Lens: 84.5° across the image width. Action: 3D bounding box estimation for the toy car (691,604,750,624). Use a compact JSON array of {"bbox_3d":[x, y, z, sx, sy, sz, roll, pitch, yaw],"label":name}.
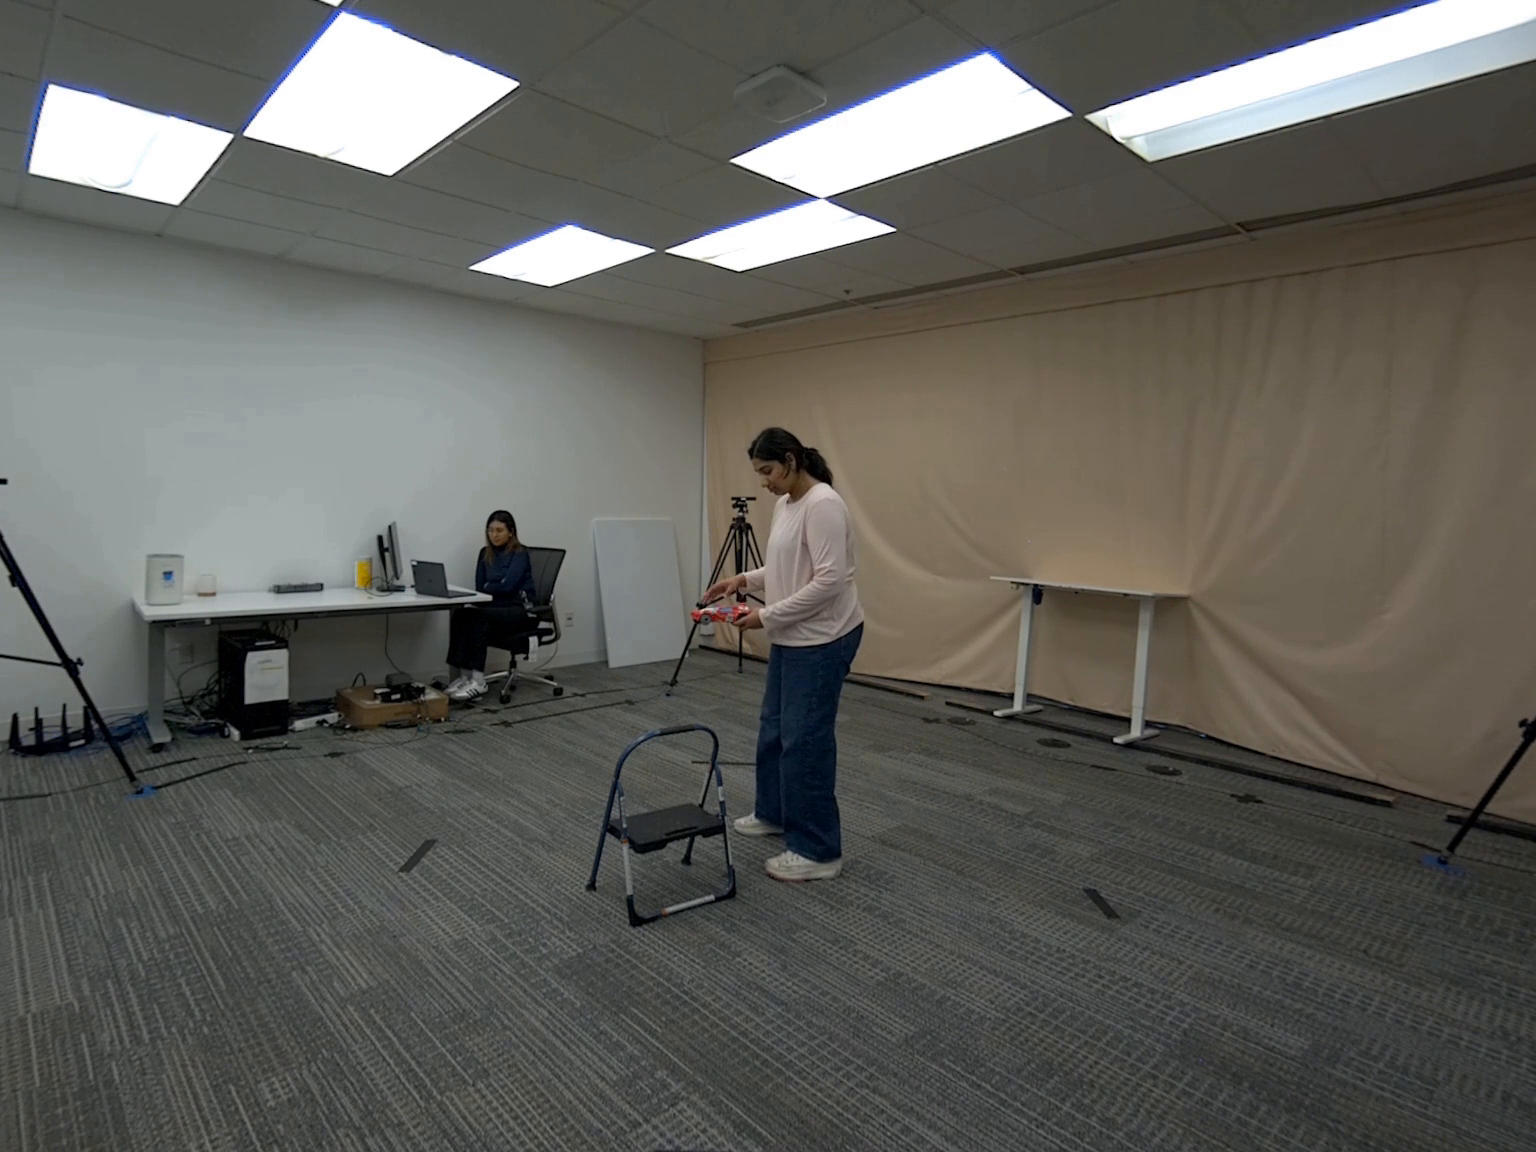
[{"bbox_3d":[-0.152,0.151,3.157,0.251,0.083,0.132,-9,3,-18],"label":"toy car"}]
